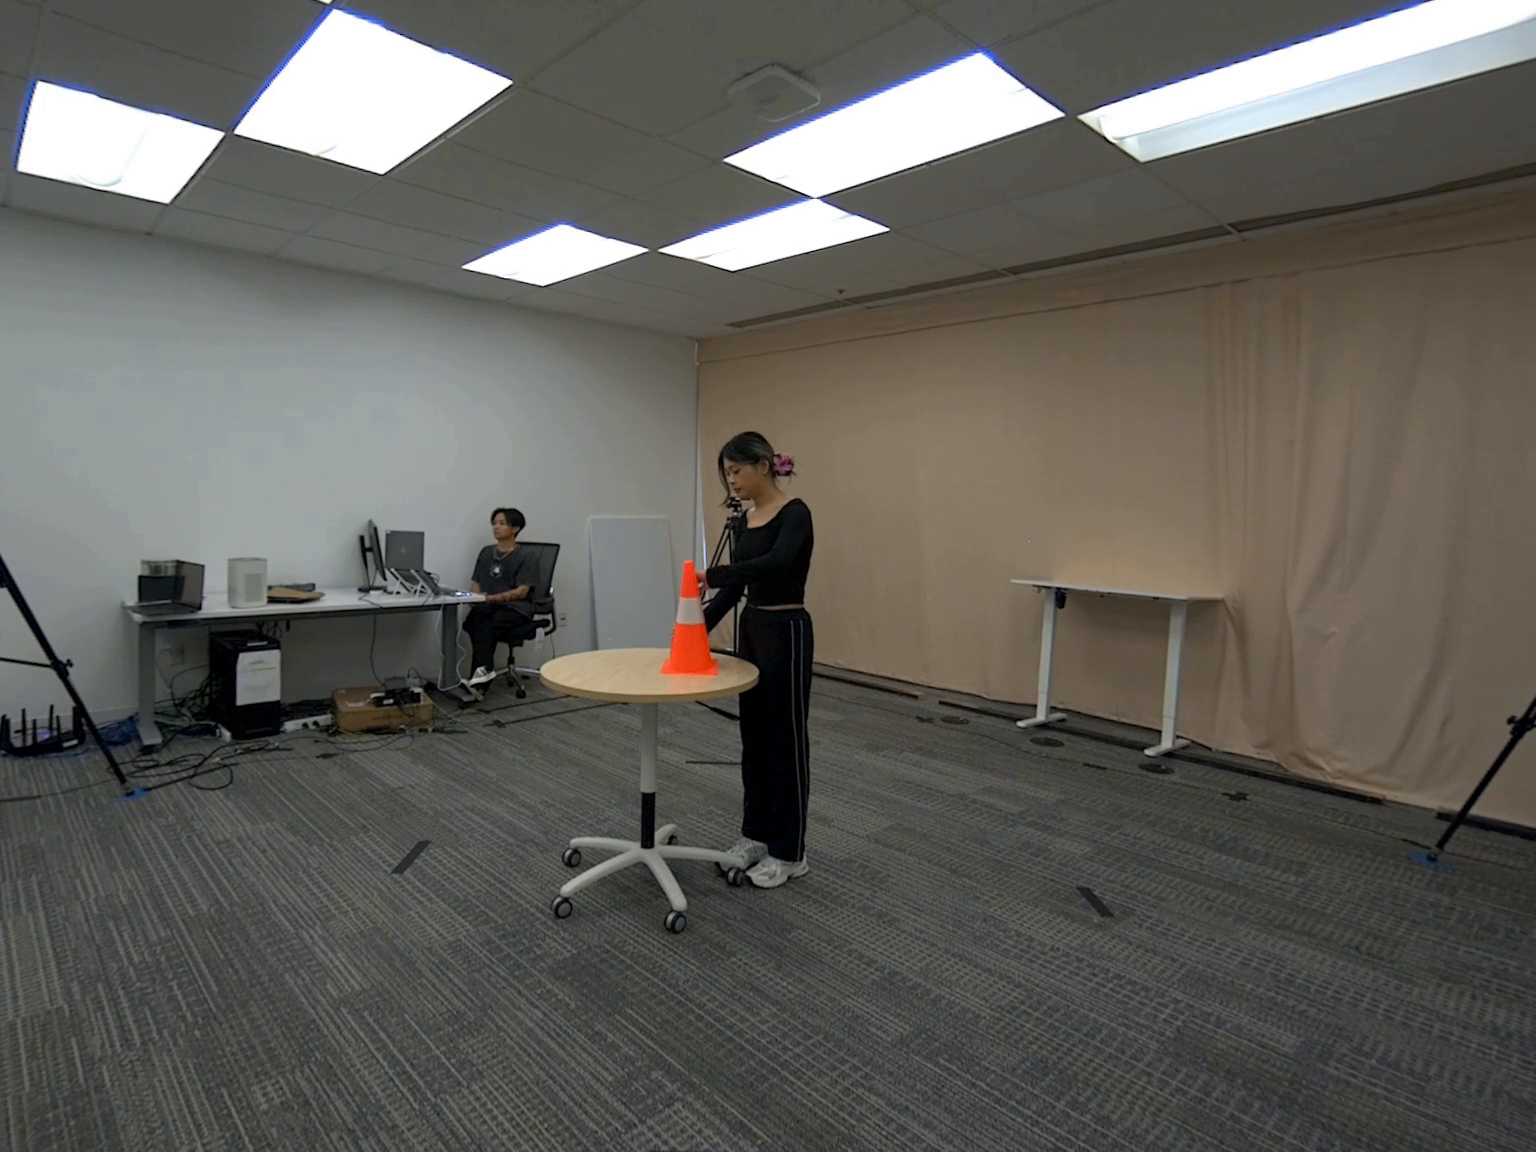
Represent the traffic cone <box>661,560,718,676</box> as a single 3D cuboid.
[{"bbox_3d":[-0.283,0.140,2.952,0.203,0.381,0.206,0,9,-1],"label":"traffic cone"}]
